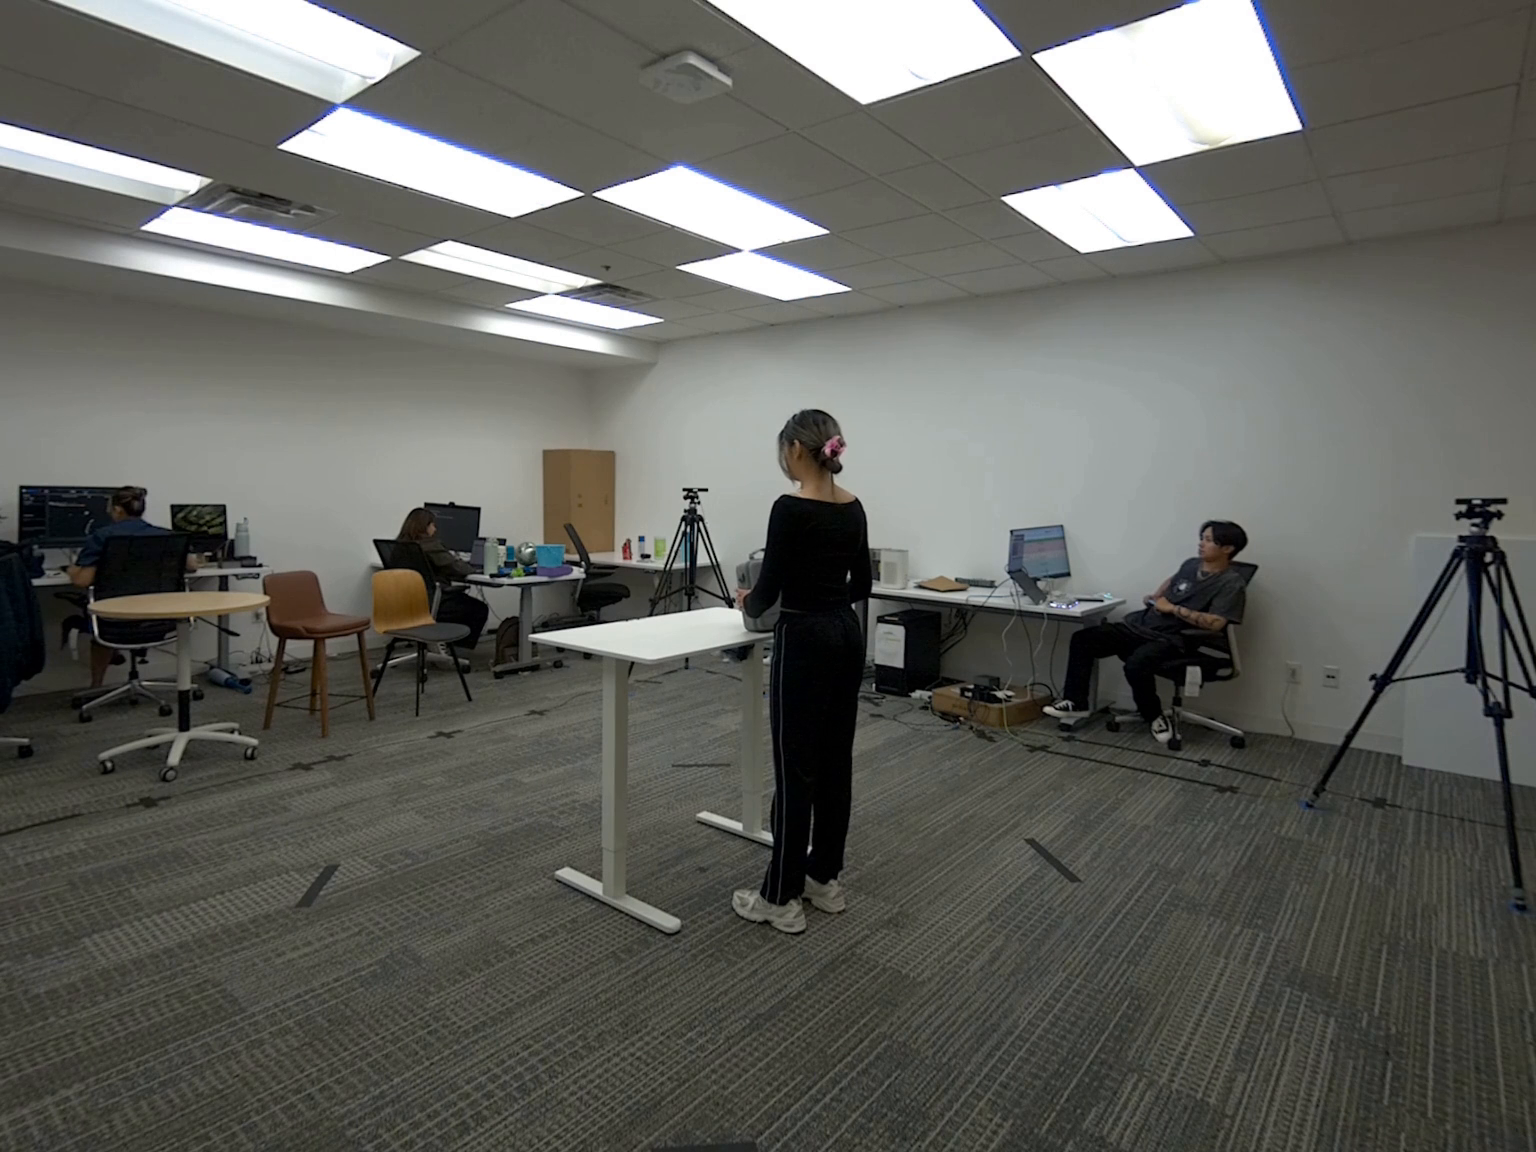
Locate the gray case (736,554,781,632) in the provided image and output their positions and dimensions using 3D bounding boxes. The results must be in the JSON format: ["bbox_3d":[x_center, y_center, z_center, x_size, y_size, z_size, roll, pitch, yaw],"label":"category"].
[{"bbox_3d":[0.001,0.060,3.097,0.249,0.262,0.107,-3,-8,-43],"label":"gray case"}]
